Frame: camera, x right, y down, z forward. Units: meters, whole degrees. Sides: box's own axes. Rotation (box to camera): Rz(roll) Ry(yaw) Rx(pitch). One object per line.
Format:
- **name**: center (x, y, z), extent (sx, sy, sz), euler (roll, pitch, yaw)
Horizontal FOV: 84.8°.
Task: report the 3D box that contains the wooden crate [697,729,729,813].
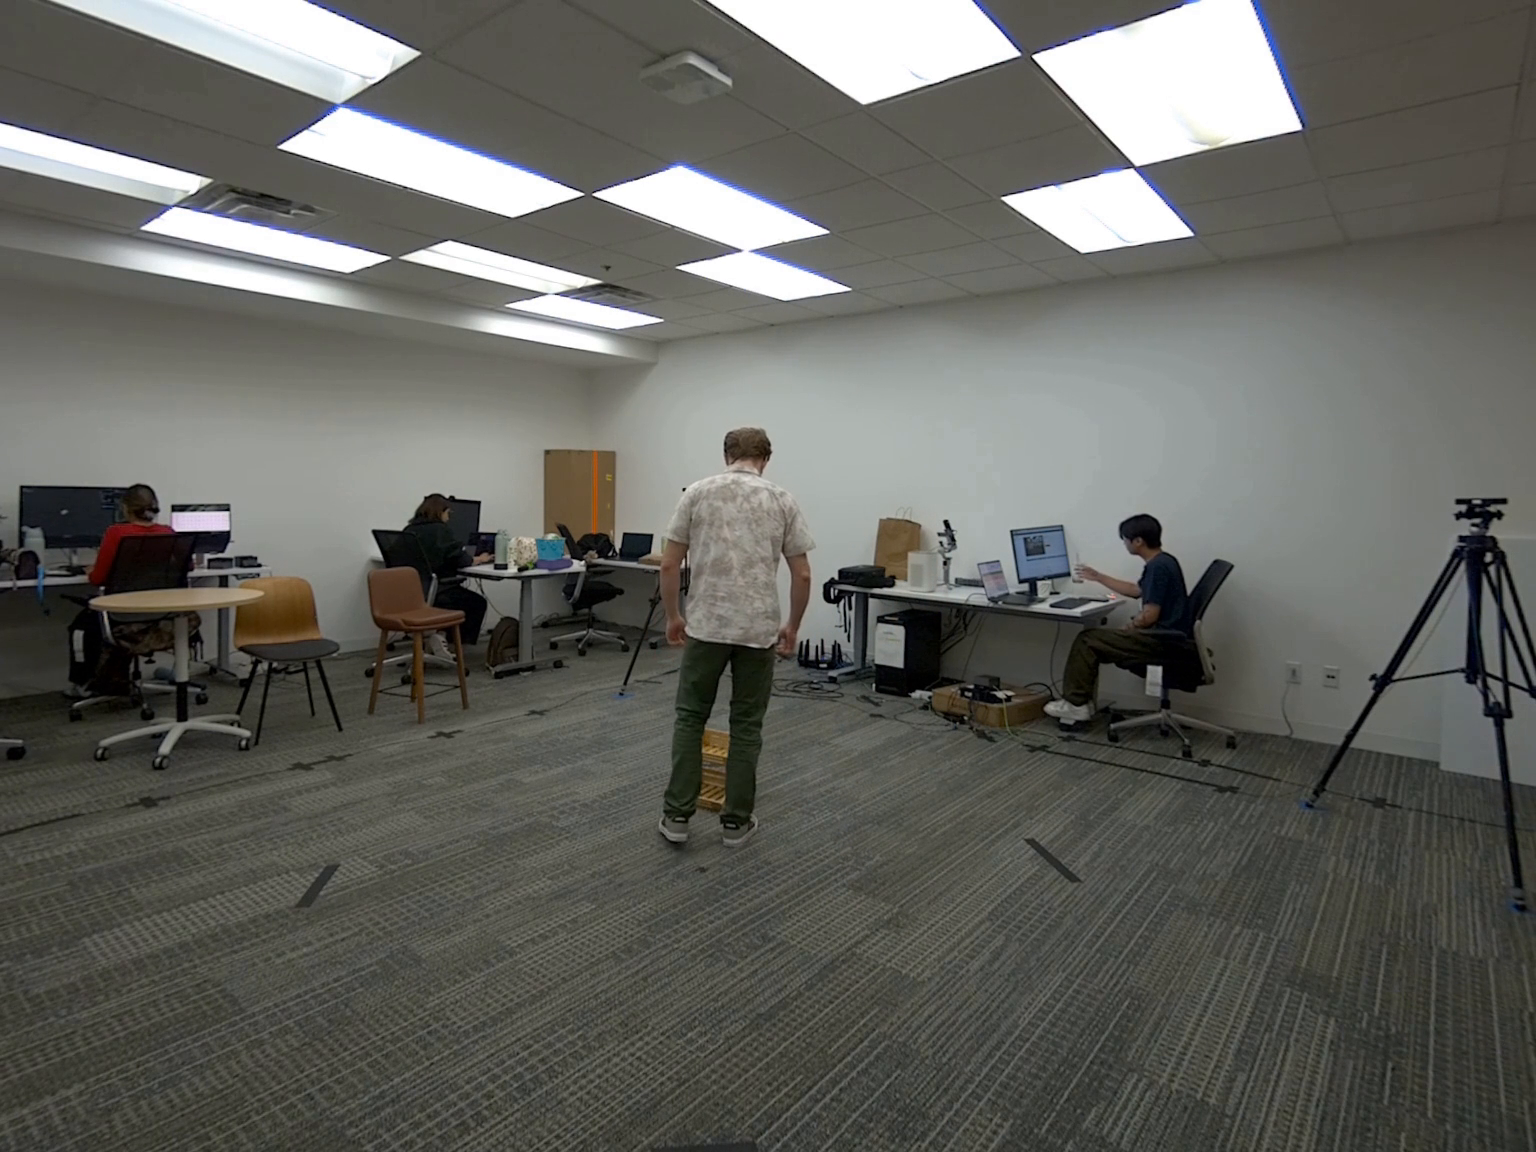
- **wooden crate**: center (-0.261, 0.861, 3.835), extent (0.334, 0.273, 0.294), euler (4, 4, 28)
